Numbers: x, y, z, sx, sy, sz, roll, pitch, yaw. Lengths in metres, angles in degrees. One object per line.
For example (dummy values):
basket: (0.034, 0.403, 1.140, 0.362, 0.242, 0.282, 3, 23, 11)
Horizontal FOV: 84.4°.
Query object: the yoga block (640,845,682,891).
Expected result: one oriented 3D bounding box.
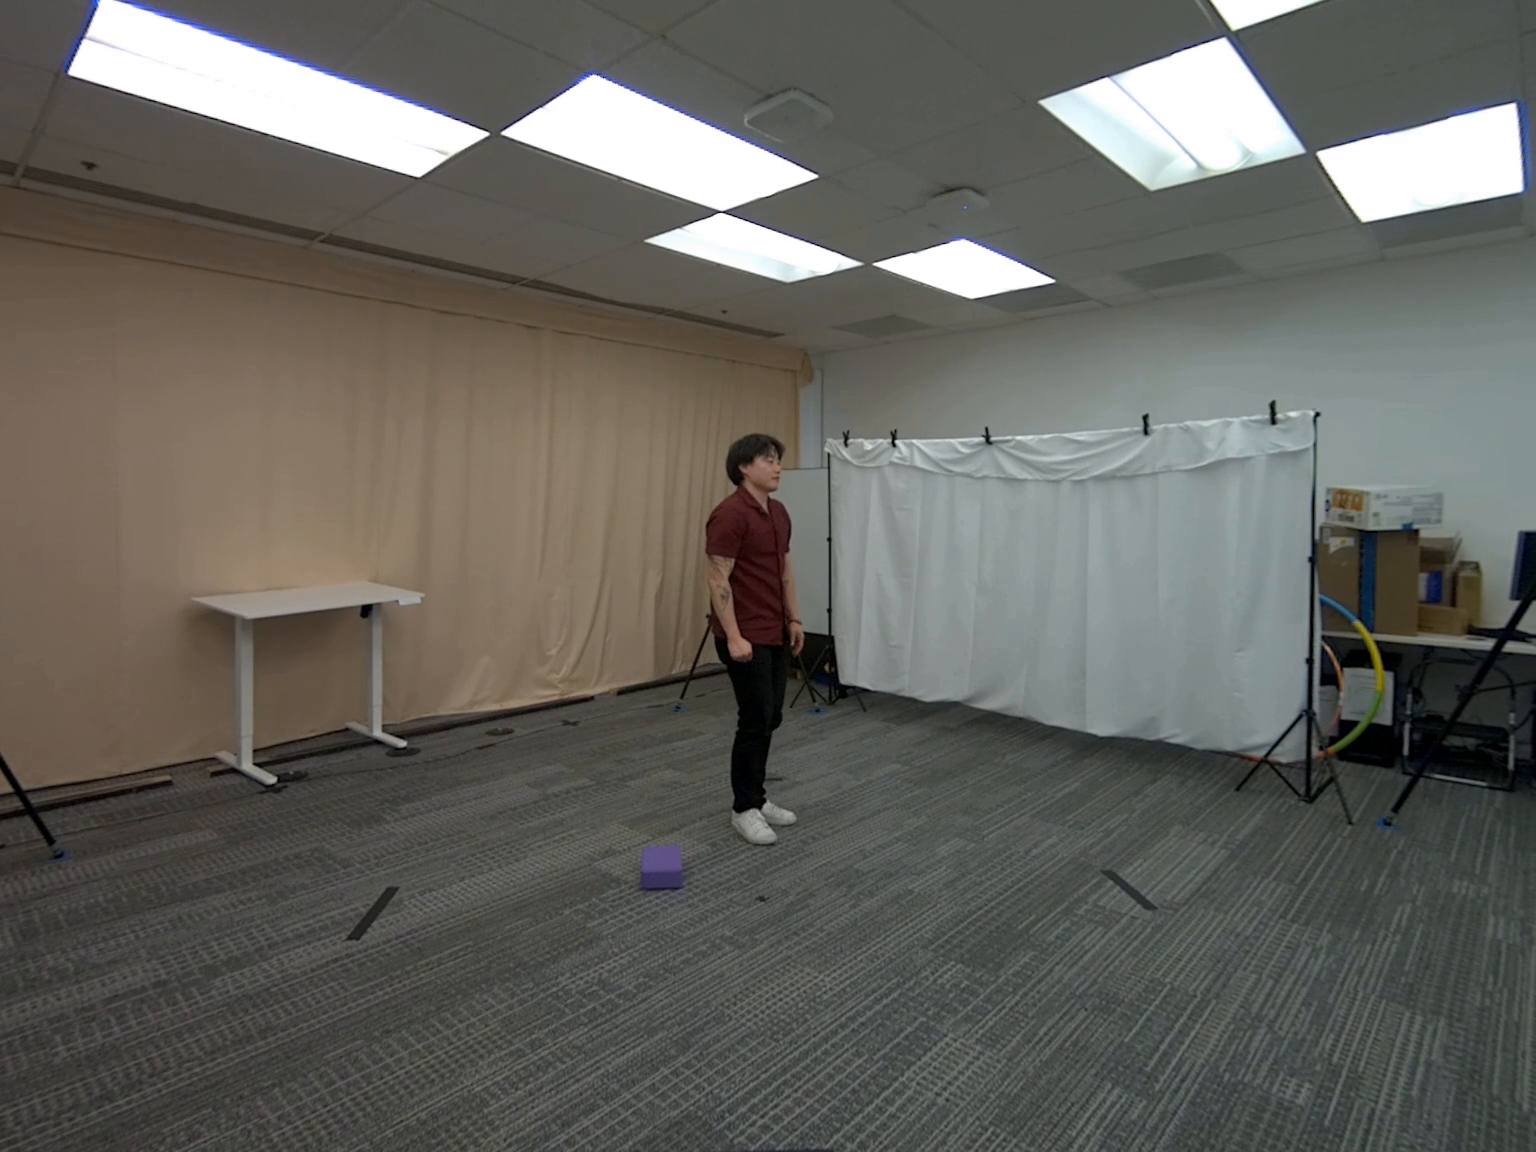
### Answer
yoga block: (-0.398, 1.089, 3.164, 0.148, 0.076, 0.231, 1, 3, -5)
